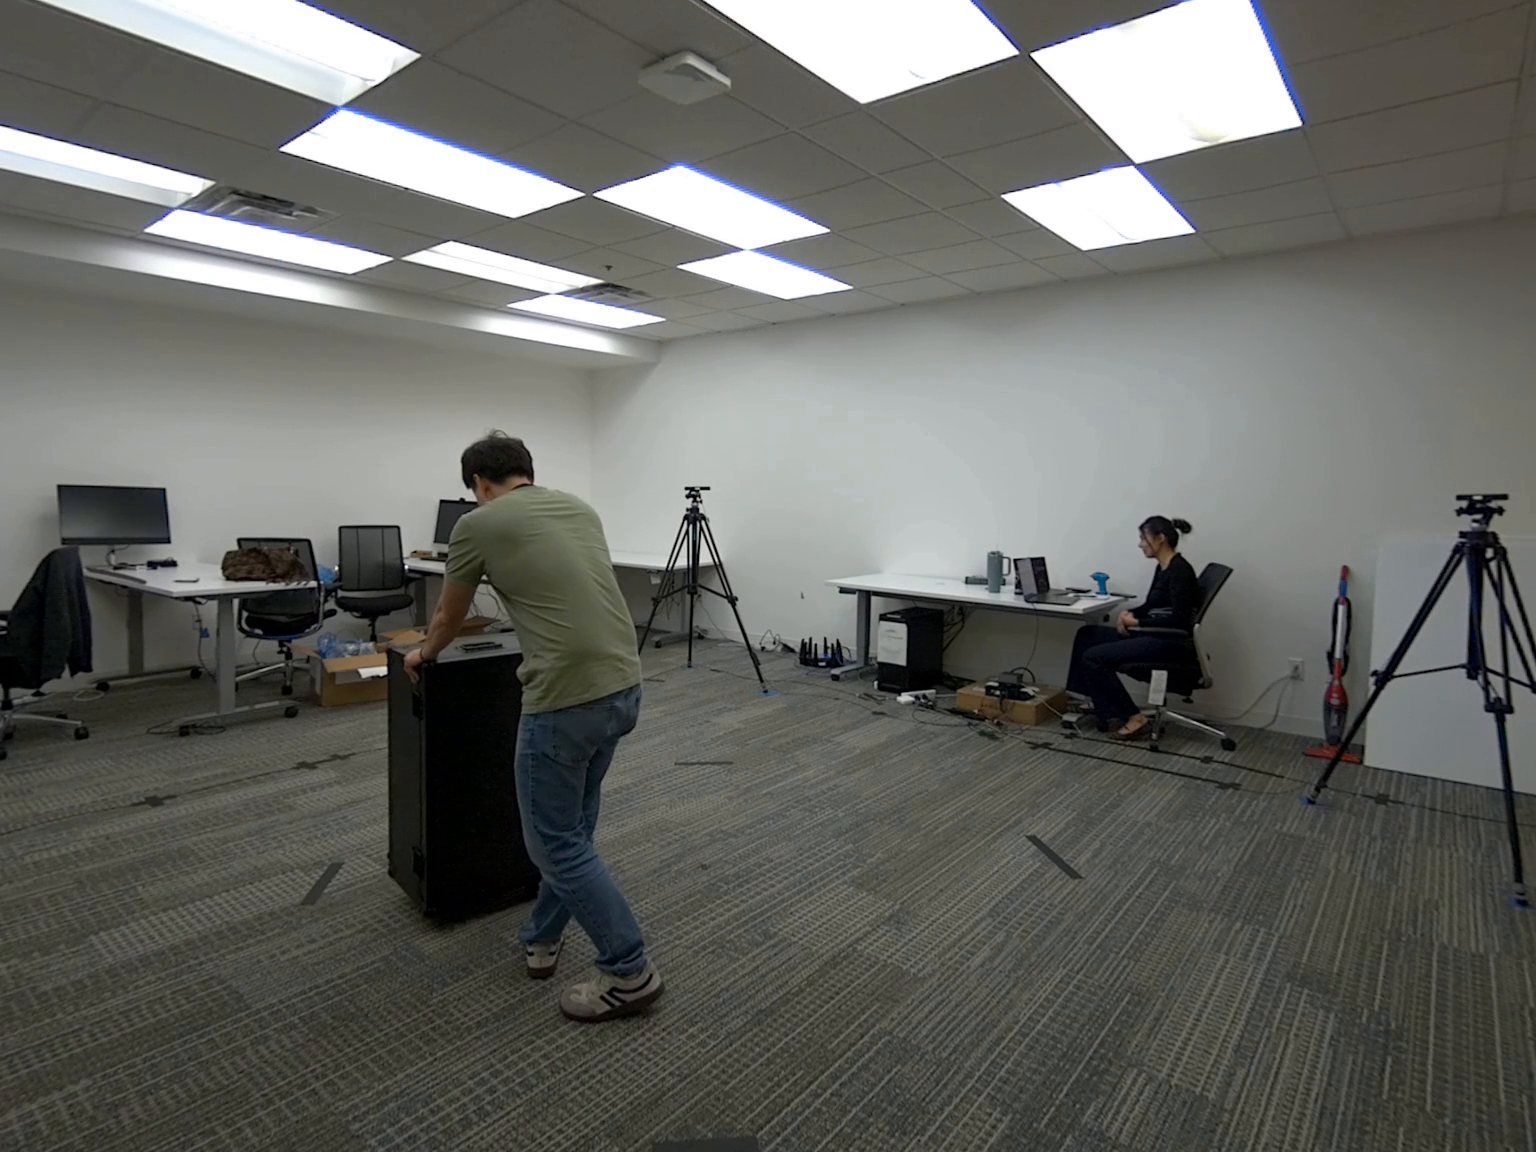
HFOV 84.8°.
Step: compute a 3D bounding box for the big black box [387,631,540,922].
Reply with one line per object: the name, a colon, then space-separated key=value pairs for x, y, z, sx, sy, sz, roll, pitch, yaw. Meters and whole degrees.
big black box: x=-1.009 y=0.660 z=2.863 sx=0.505 sy=0.859 sz=0.409 roll=-2 pitch=4 yaw=-42
